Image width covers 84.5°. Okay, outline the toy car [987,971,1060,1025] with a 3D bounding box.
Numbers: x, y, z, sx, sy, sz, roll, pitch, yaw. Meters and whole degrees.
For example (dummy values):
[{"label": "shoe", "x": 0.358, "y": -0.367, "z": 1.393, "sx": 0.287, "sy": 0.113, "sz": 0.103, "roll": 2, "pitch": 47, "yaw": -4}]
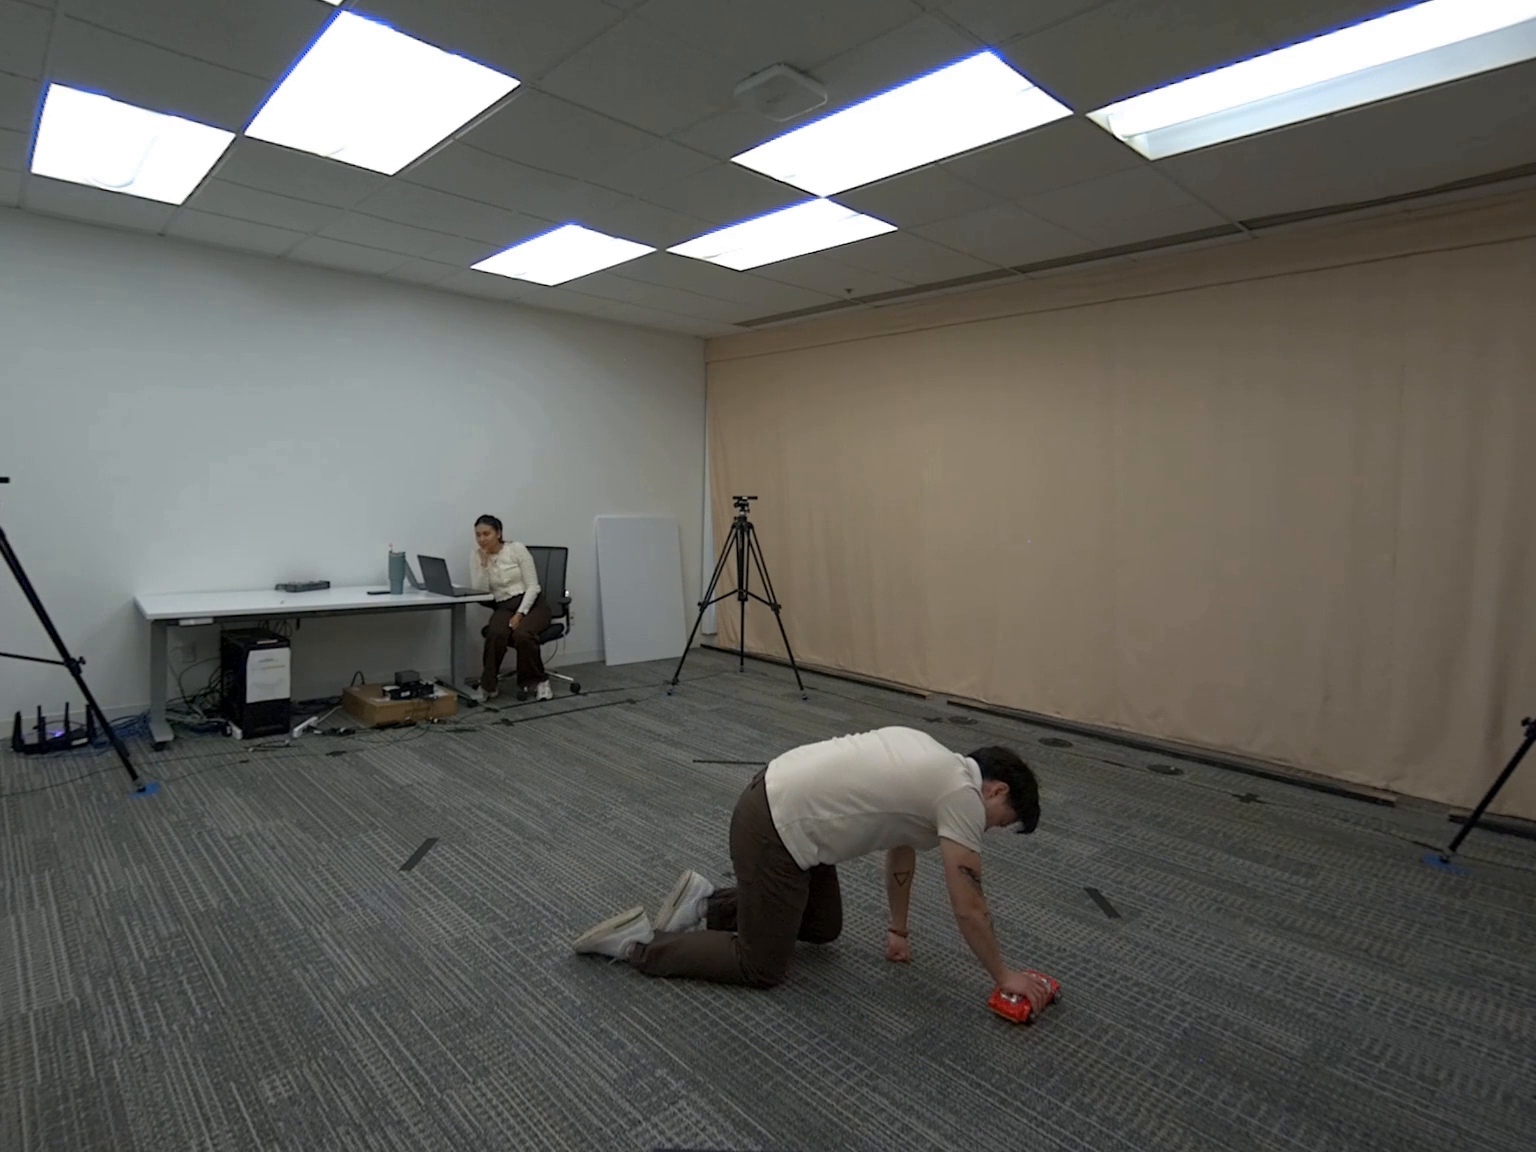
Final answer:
[{"label": "toy car", "x": 0.699, "y": 1.170, "z": 2.323, "sx": 0.248, "sy": 0.083, "sz": 0.134, "roll": 10, "pitch": -1, "yaw": -43}]
